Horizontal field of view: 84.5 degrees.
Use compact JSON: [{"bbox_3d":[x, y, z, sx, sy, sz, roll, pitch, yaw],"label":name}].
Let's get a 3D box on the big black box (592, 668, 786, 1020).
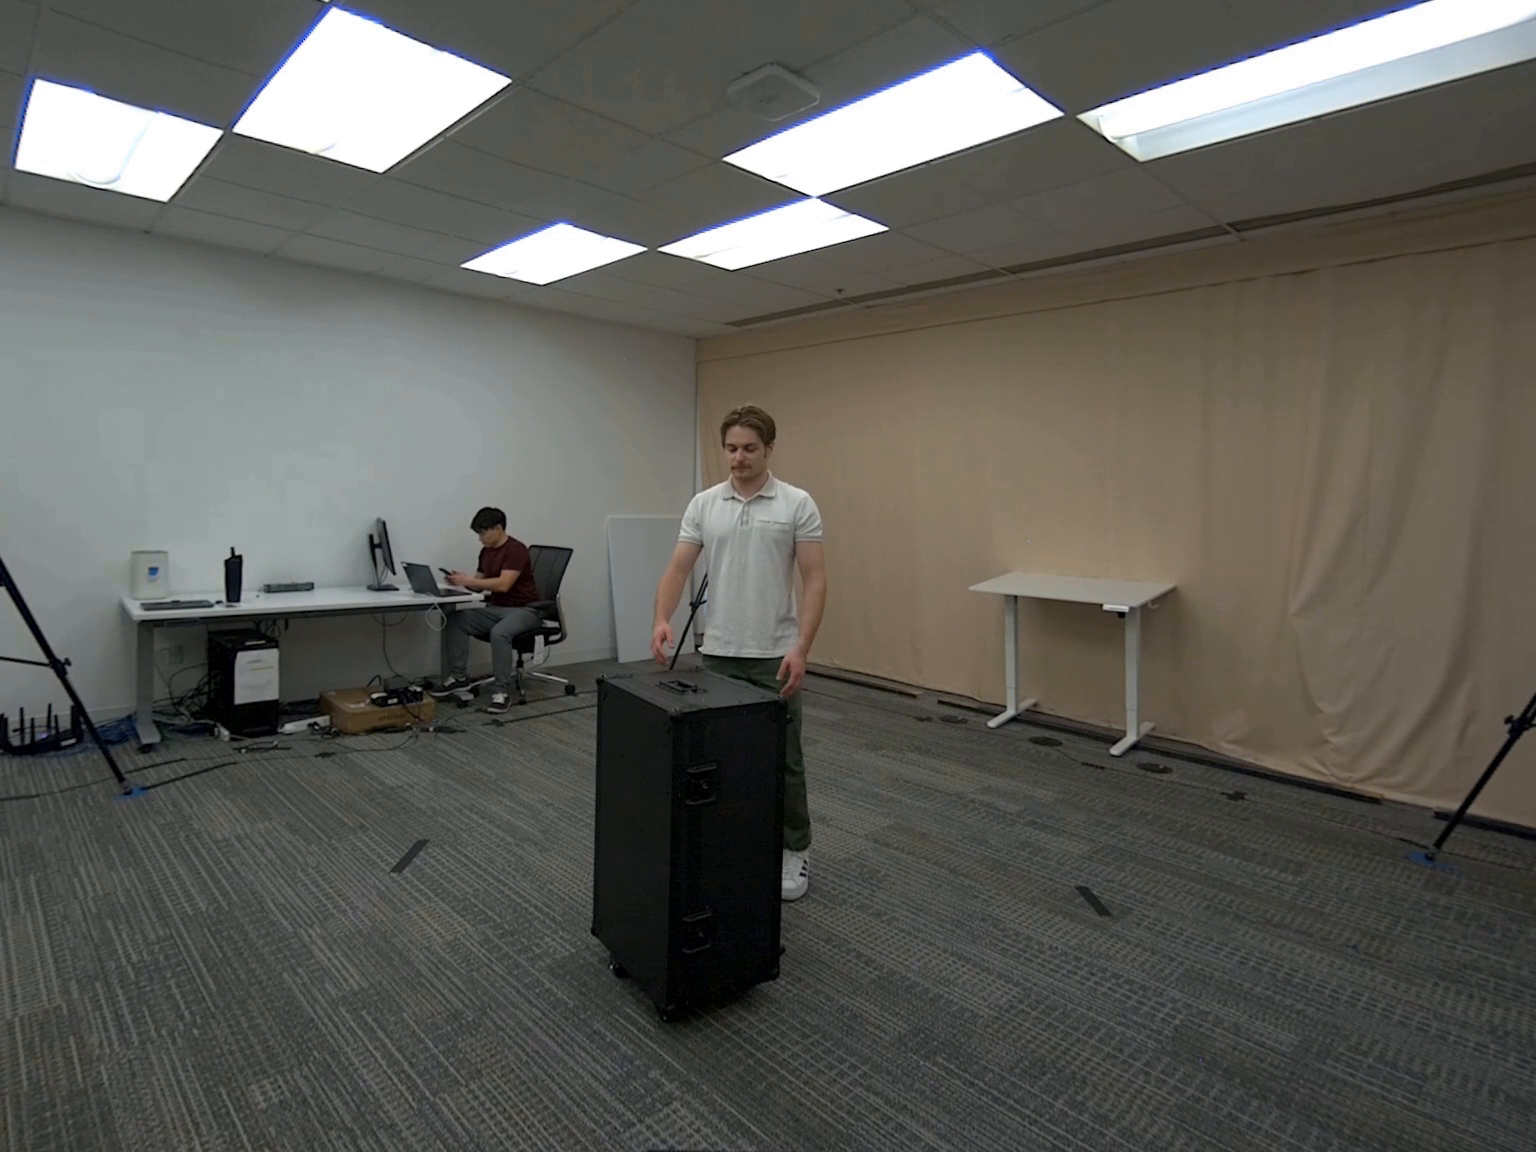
[{"bbox_3d":[-0.250,0.744,2.409,0.377,0.867,0.536,0,3,-33],"label":"big black box"}]
